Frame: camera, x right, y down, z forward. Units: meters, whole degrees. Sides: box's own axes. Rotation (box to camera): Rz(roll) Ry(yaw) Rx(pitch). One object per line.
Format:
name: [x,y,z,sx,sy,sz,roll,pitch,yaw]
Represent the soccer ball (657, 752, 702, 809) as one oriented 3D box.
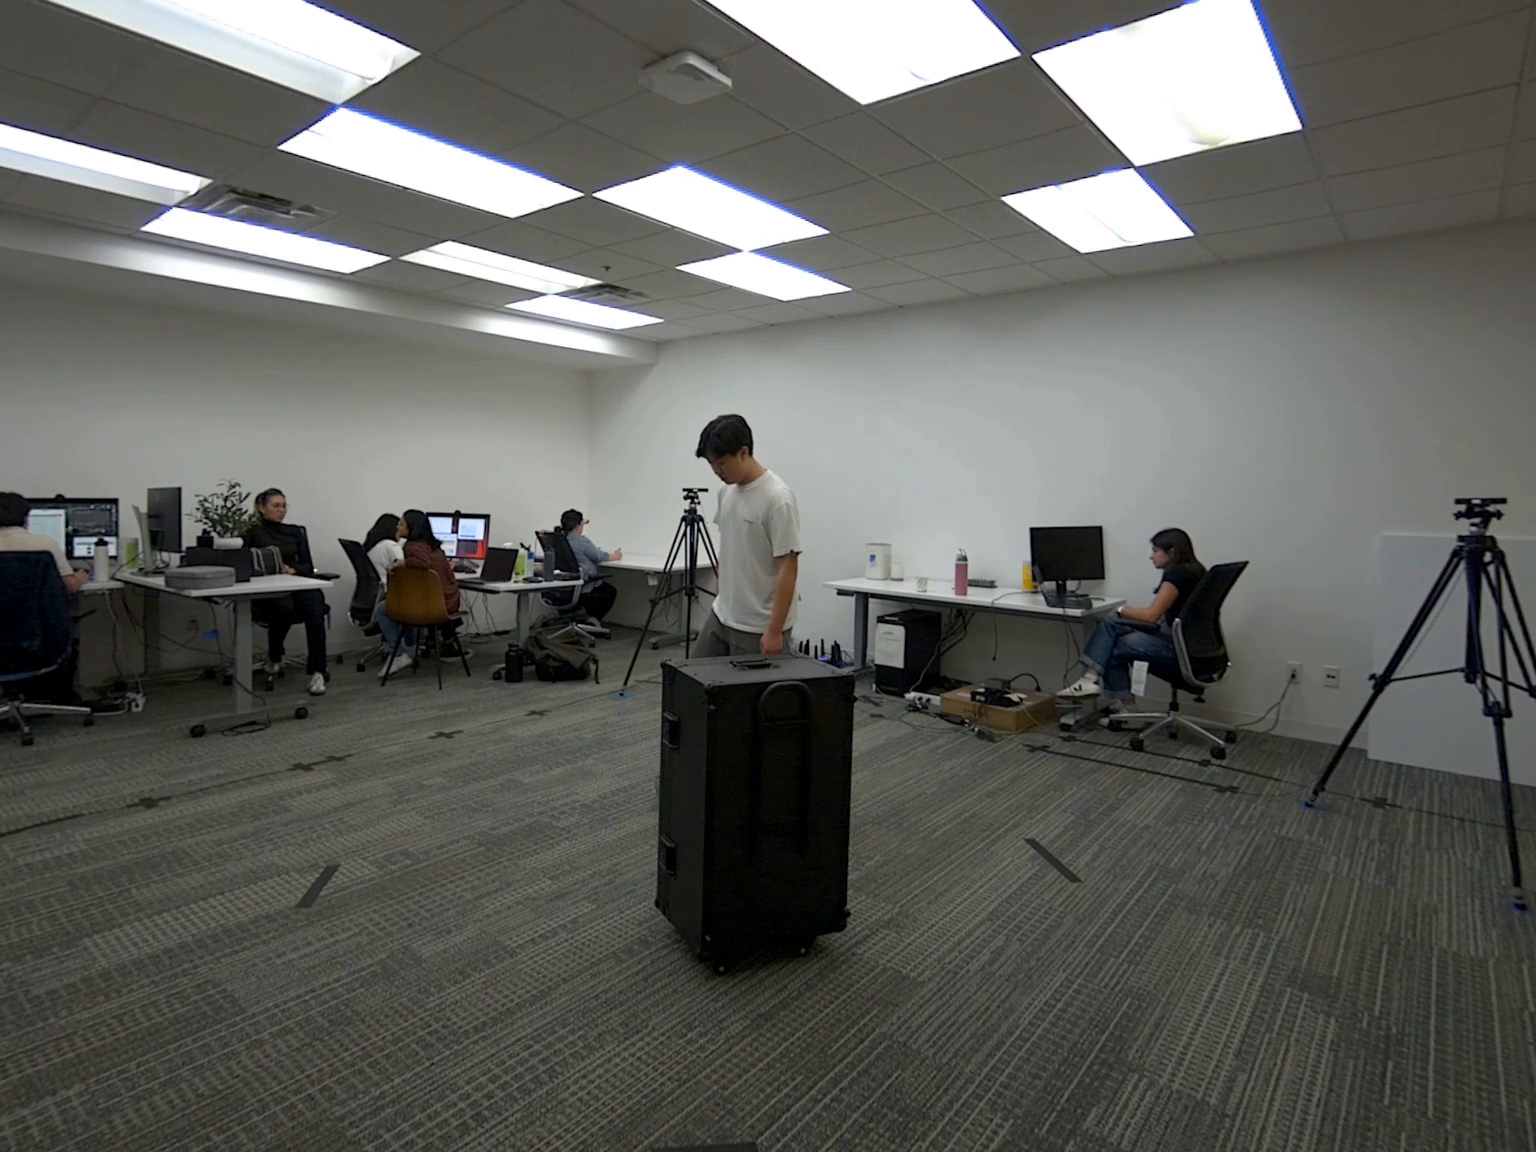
soccer ball: [-0.392,0.899,3.717,0.187,0.187,0.188,1,4,-2]
